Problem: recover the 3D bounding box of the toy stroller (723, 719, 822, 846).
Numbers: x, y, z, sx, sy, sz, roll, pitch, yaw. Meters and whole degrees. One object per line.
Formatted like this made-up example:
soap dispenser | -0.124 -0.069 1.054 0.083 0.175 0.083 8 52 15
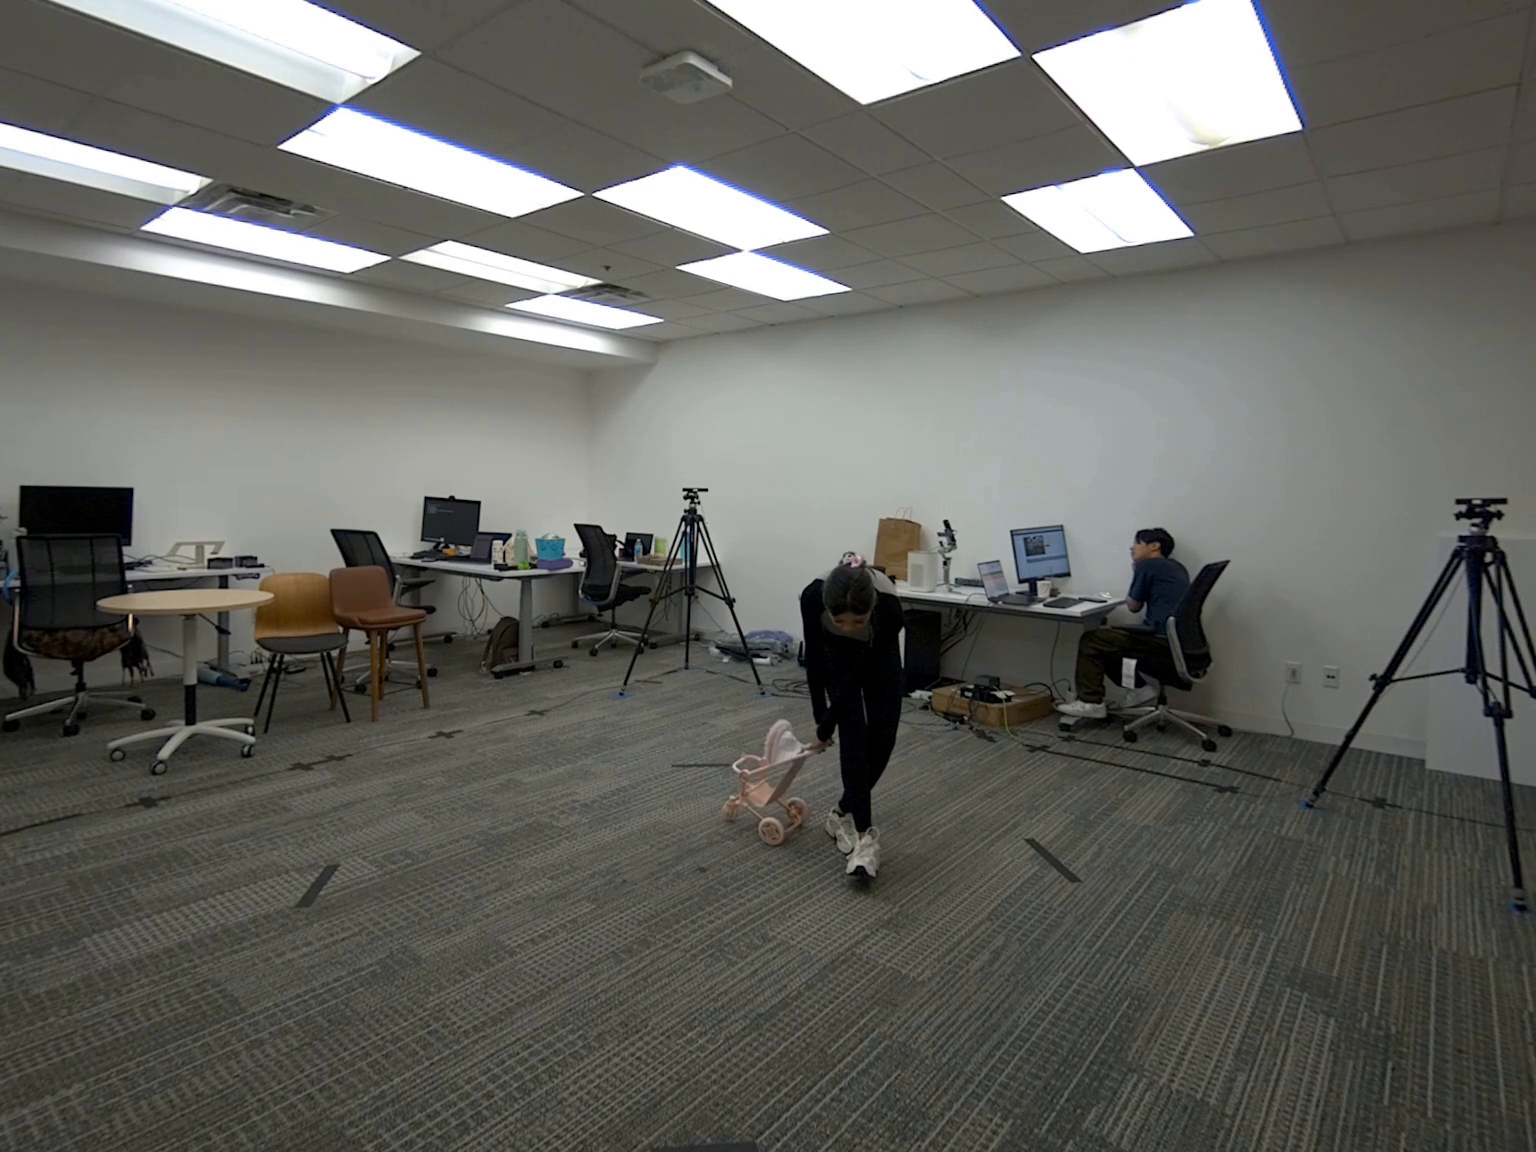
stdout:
toy stroller | 0.008 0.815 3.464 0.353 0.530 0.274 24 16 29
